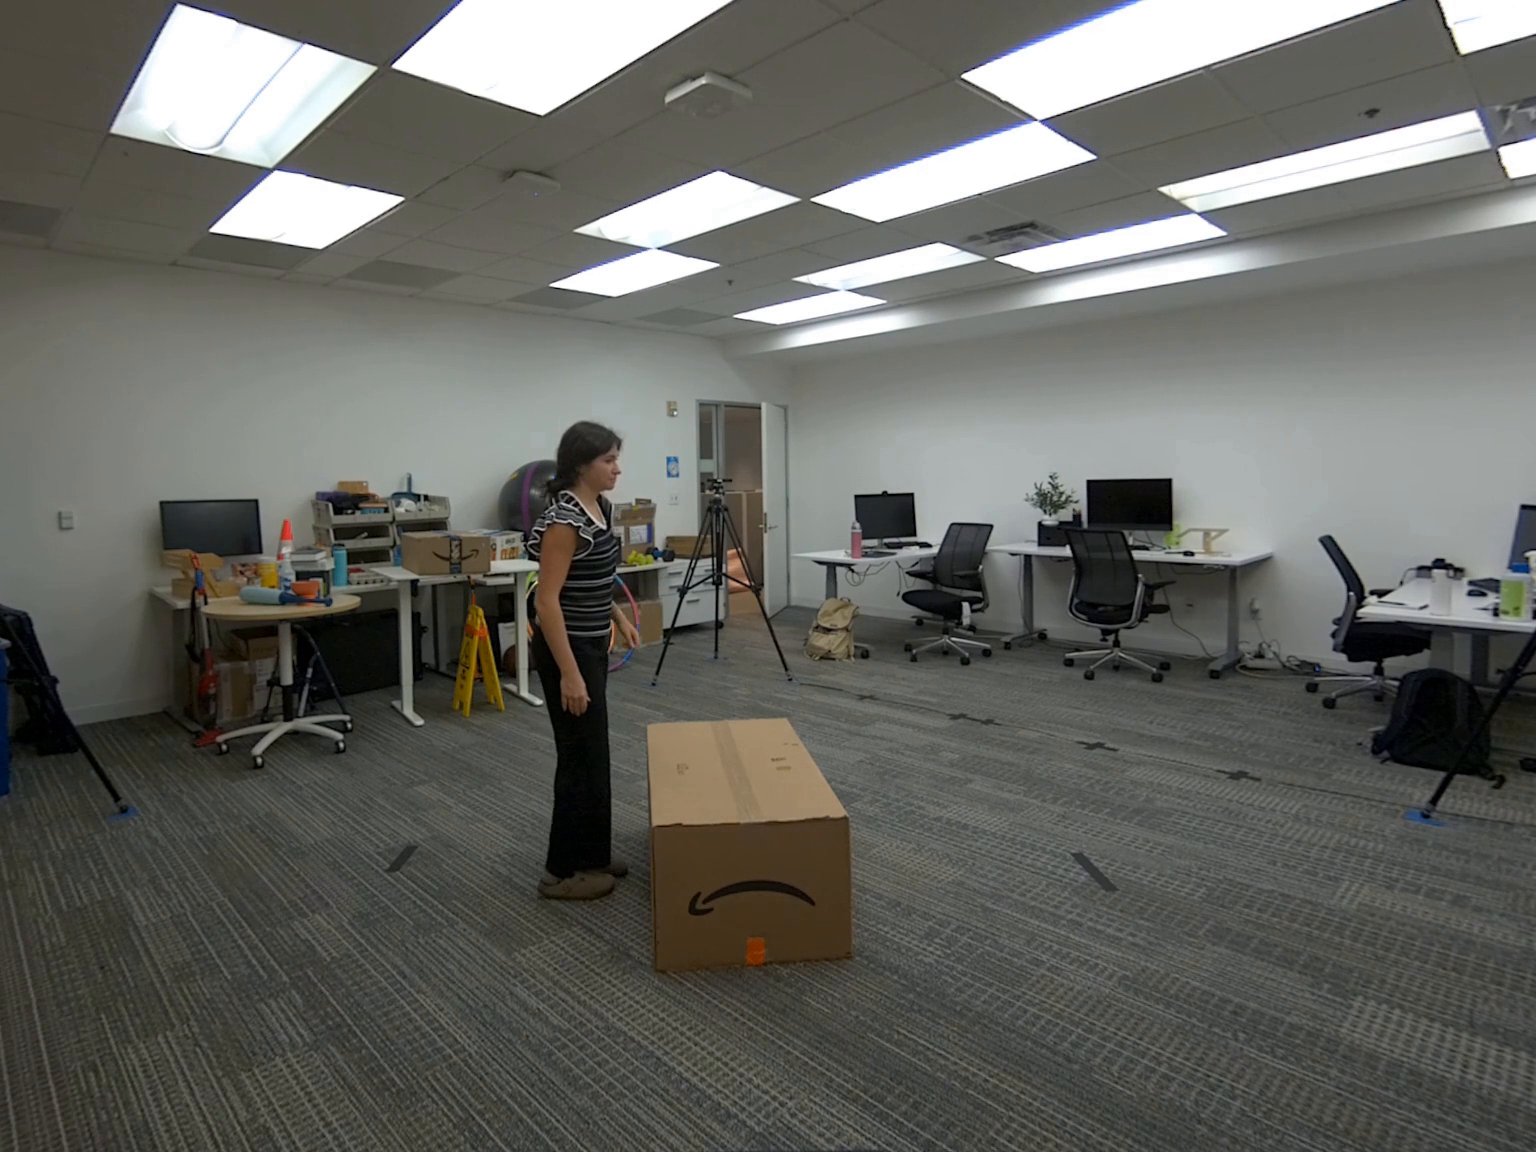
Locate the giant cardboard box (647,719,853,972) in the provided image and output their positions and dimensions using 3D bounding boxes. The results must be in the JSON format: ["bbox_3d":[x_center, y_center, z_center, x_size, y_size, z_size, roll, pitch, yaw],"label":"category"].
[{"bbox_3d":[-0.120,0.854,2.946,0.573,0.424,1.038,-2,6,-8],"label":"giant cardboard box"}]
